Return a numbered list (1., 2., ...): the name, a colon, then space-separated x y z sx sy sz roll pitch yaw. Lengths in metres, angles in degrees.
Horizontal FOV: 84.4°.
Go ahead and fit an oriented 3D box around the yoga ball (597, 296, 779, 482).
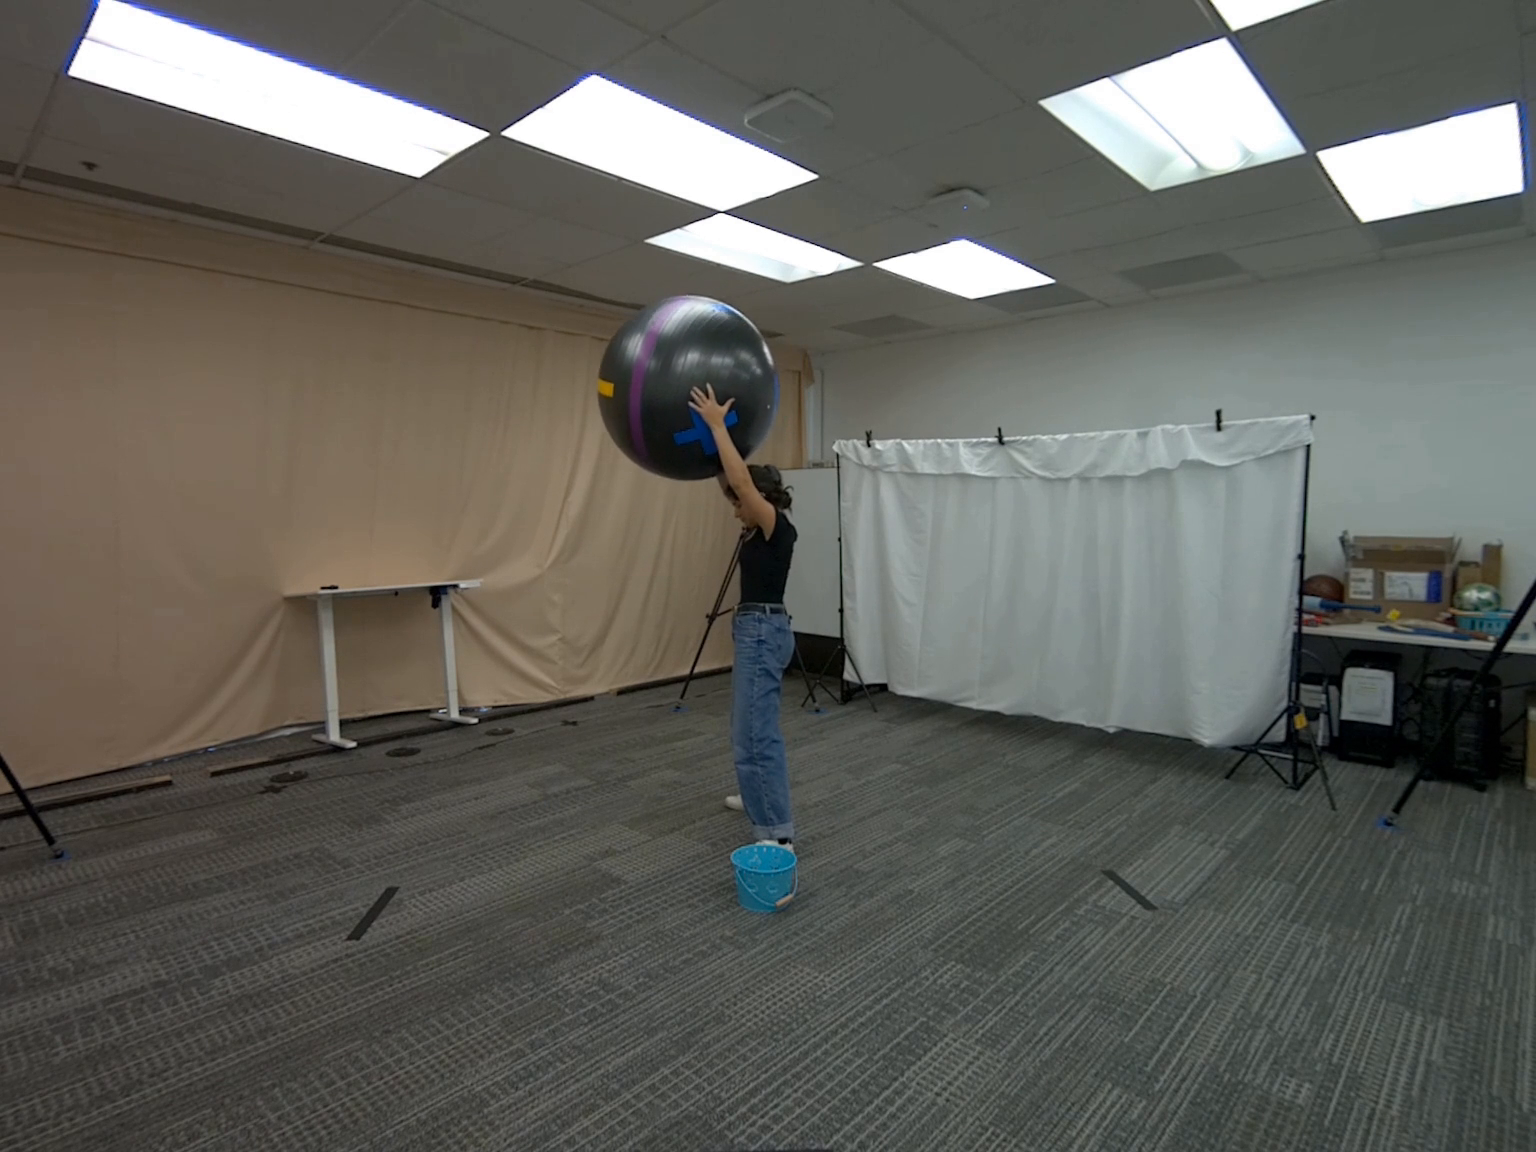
1. yoga ball: -0.339 -0.761 3.528 0.757 0.756 0.760 0 4 -2
